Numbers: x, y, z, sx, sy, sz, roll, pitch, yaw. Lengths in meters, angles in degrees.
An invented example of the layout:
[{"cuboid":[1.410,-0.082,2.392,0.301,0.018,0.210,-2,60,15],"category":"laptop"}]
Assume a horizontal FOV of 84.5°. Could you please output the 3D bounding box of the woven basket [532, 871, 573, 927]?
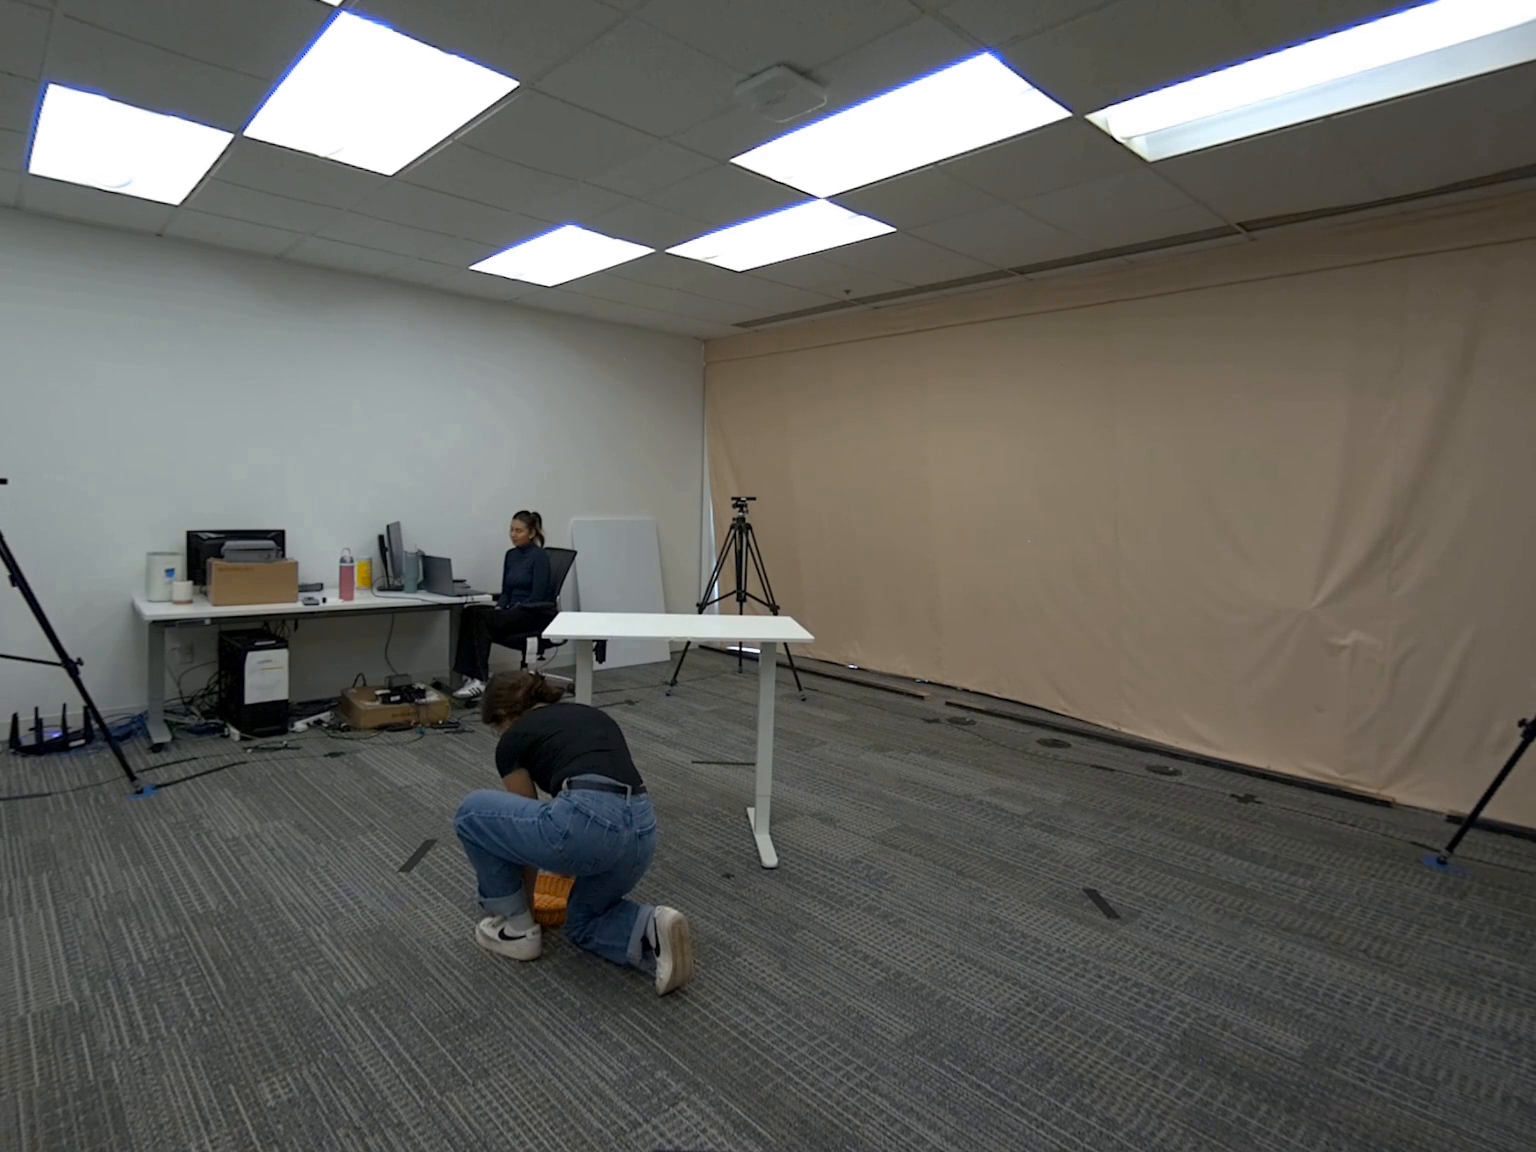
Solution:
[{"cuboid":[-0.786,1.083,2.808,0.355,0.073,0.249,4,4,17],"category":"woven basket"}]
